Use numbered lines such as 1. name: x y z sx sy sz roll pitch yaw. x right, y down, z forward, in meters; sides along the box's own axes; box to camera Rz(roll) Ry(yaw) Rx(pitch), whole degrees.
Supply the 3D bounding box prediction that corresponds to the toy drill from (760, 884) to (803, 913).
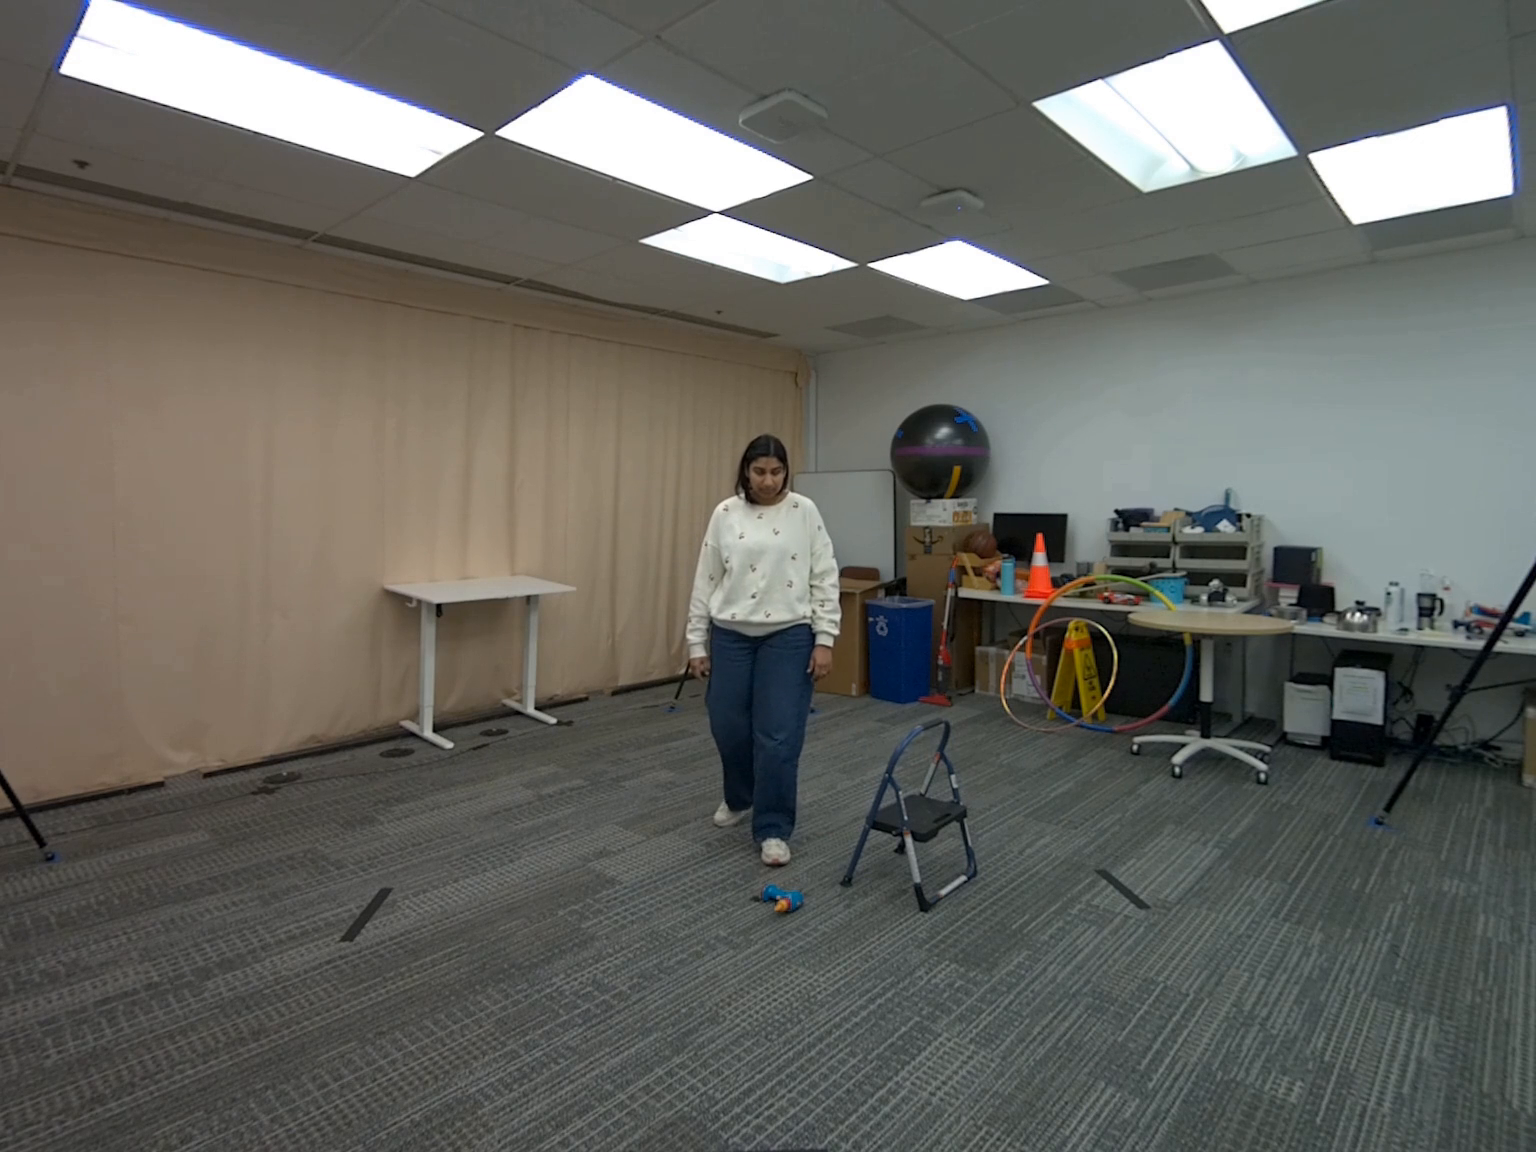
1. toy drill: 0.036 1.117 2.921 0.150 0.061 0.165 2 1 32
